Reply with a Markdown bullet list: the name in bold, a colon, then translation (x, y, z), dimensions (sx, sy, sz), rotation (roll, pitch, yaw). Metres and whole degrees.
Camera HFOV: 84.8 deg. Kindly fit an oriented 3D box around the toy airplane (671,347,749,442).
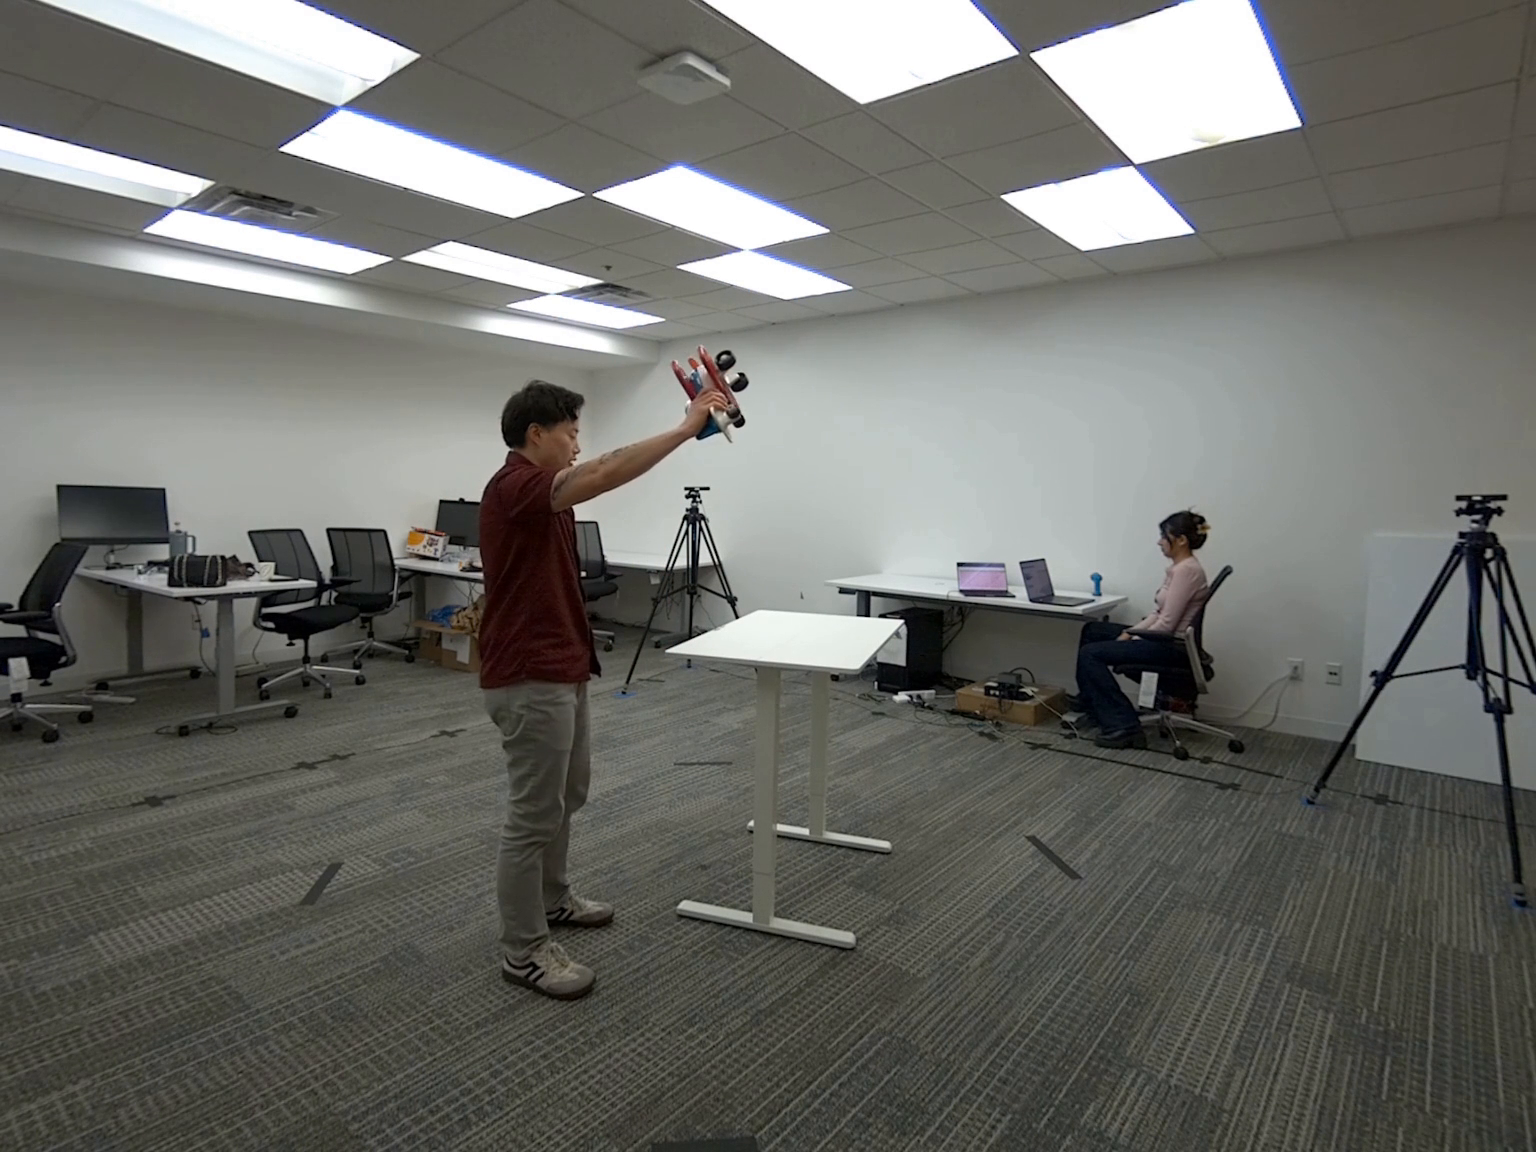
- **toy airplane**: translation (-0.160, -0.479, 2.233), dimensions (0.159, 0.245, 0.262), rotation (-15, 23, 19)
